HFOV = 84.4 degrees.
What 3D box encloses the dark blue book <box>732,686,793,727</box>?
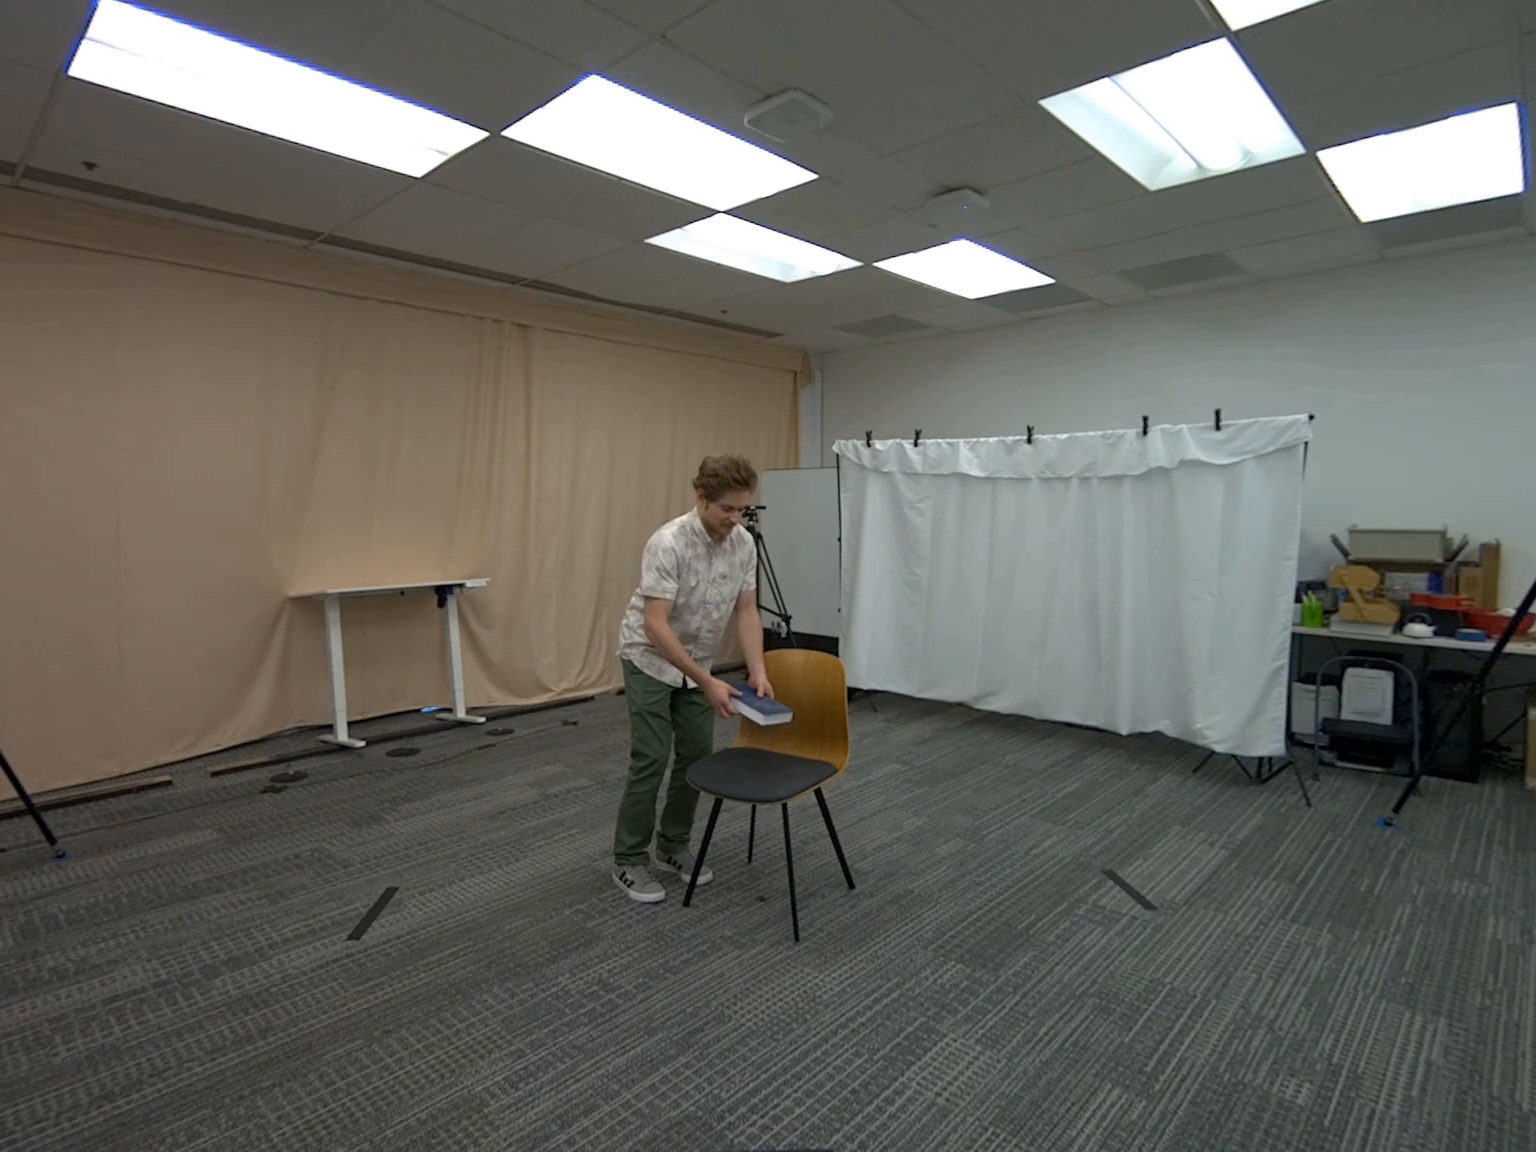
[{"bbox_3d":[-0.048,0.441,2.901,0.254,0.045,0.158,21,12,41],"label":"dark blue book"}]
